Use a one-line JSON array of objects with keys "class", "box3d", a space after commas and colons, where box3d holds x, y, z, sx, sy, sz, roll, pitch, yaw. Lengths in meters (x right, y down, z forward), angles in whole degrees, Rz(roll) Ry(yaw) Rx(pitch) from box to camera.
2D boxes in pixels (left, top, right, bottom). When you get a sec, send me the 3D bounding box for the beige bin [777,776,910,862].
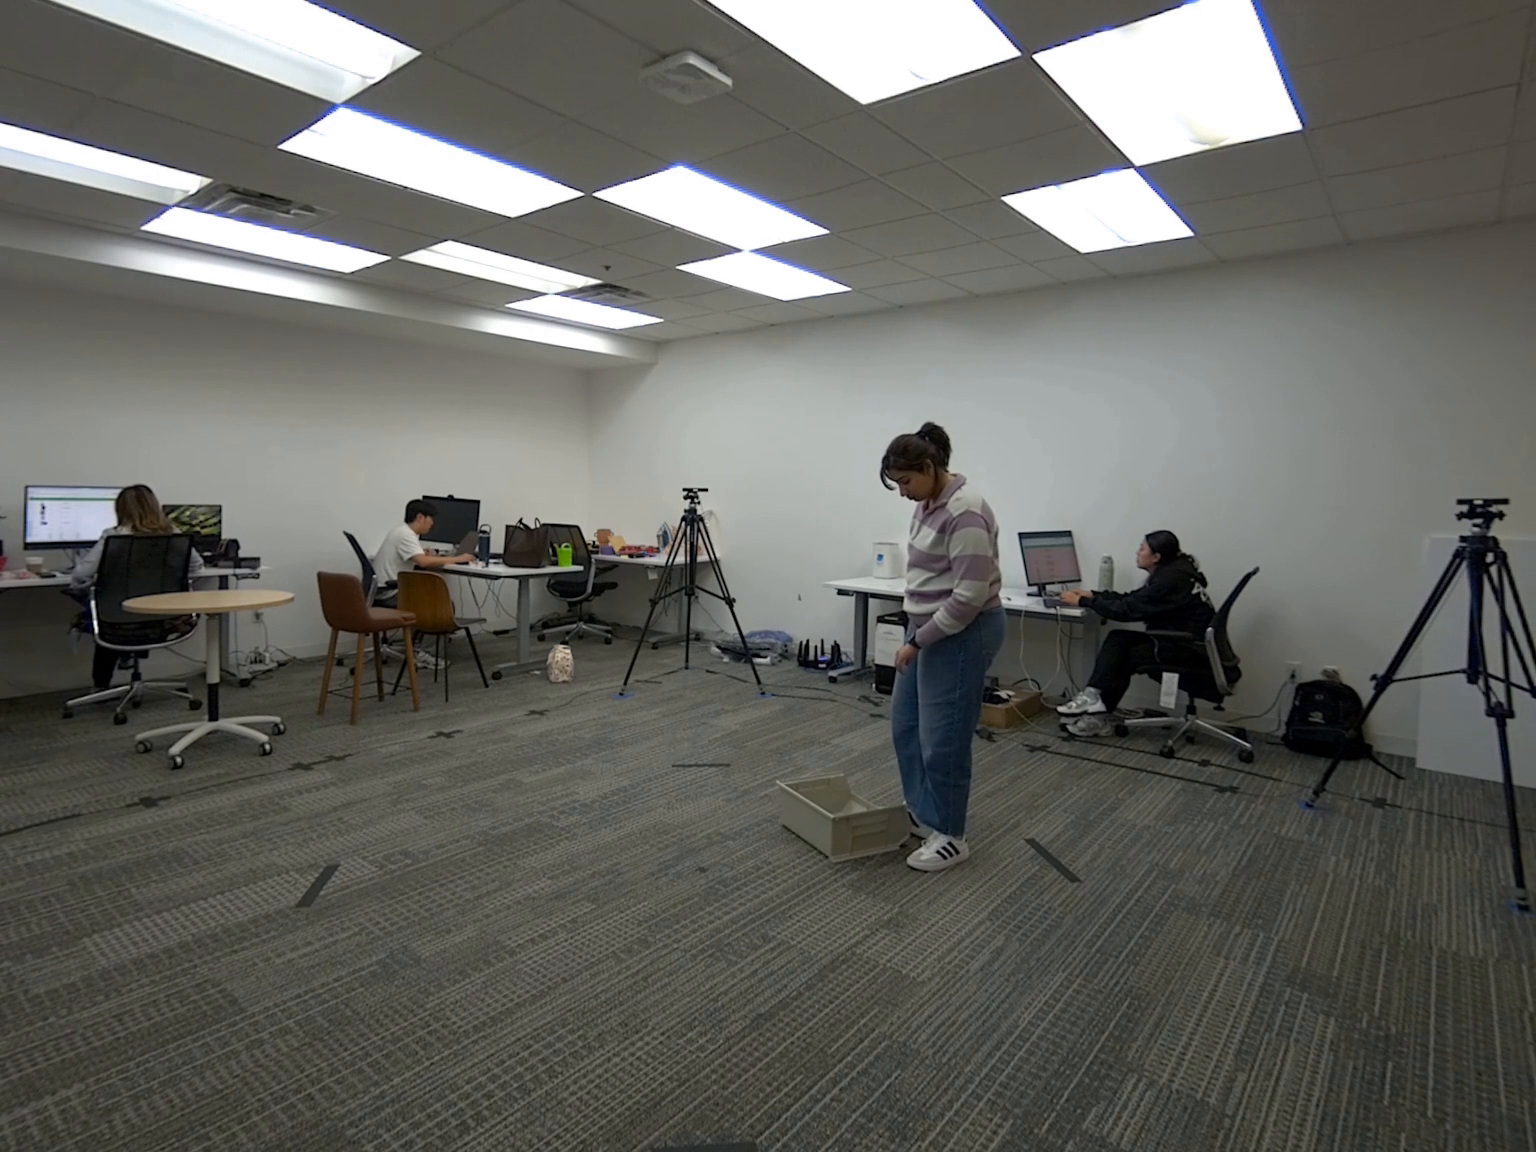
[{"class": "beige bin", "box3d": [0.286, 0.960, 3.445, 0.368, 0.188, 0.435, -3, 7, -28]}]
